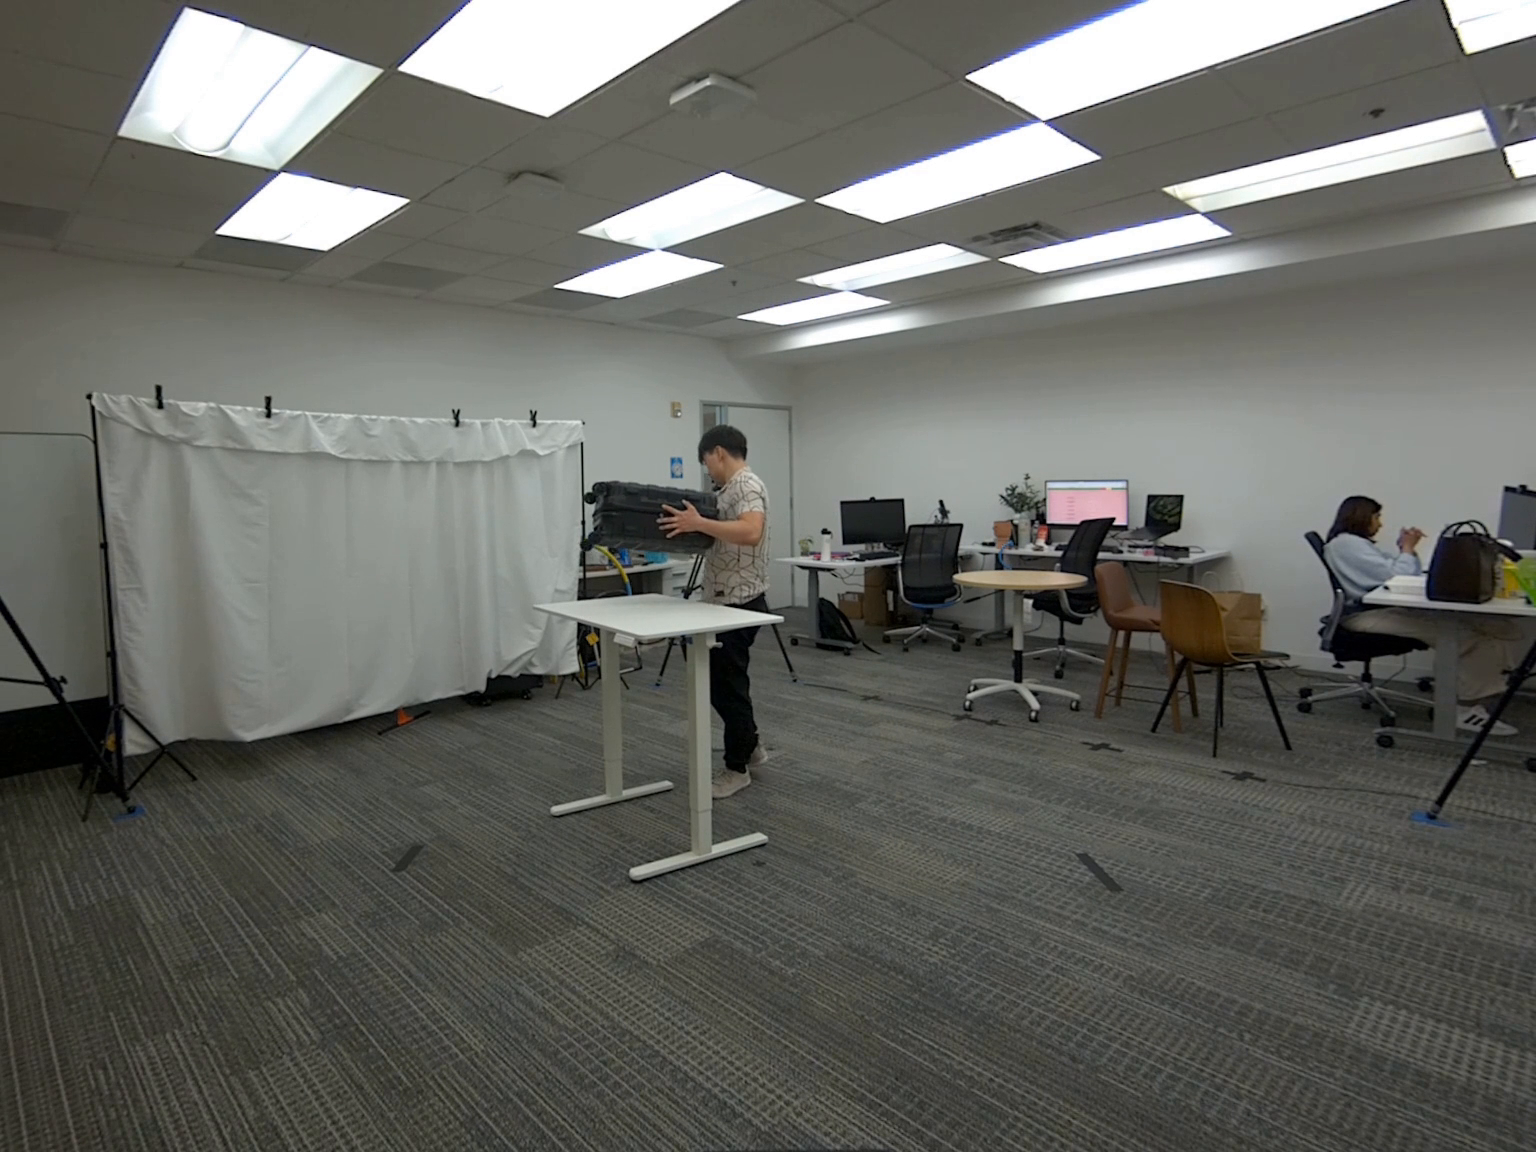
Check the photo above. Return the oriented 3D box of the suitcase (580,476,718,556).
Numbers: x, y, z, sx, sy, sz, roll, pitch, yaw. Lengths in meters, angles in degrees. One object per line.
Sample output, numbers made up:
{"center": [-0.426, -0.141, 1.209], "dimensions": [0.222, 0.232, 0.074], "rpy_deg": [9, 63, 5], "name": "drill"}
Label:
{"center": [-0.492, -0.247, 3.650], "dimensions": [0.540, 0.250, 0.379], "rpy_deg": [3, -7, -18], "name": "suitcase"}
